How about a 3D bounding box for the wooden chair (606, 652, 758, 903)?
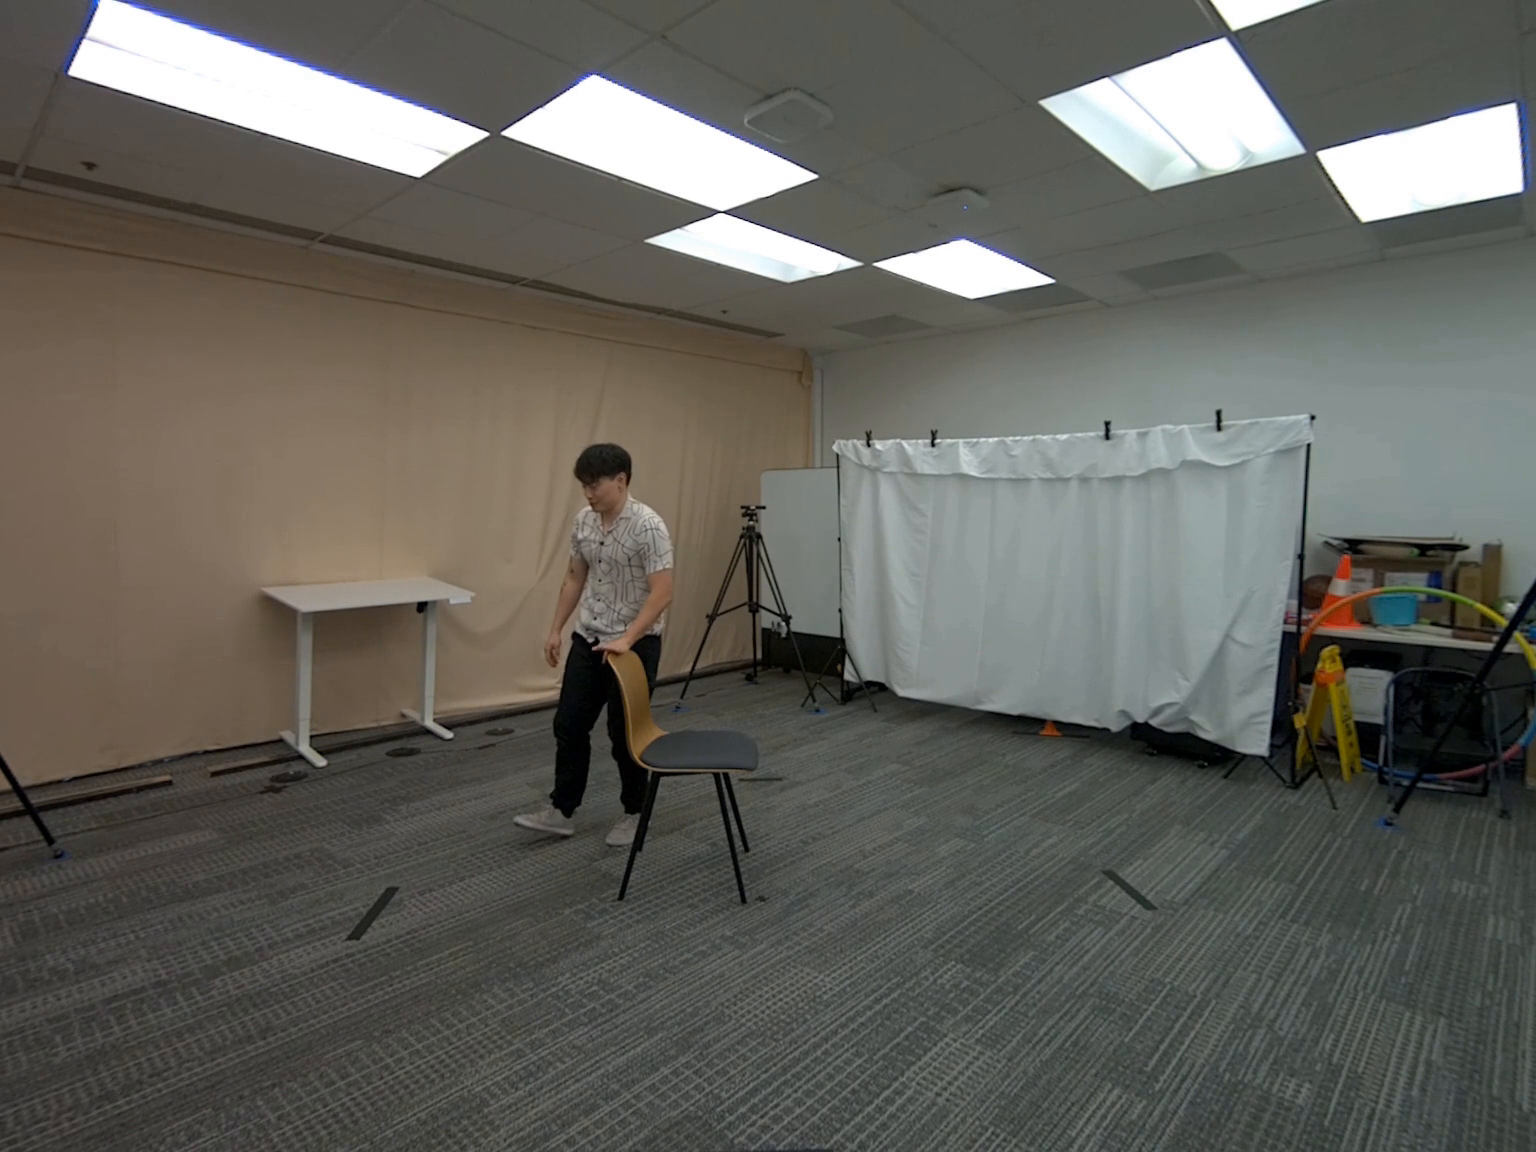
[{"bbox_3d":[-0.295,0.703,3.154,0.525,0.876,0.478,-4,2,2],"label":"wooden chair"}]
